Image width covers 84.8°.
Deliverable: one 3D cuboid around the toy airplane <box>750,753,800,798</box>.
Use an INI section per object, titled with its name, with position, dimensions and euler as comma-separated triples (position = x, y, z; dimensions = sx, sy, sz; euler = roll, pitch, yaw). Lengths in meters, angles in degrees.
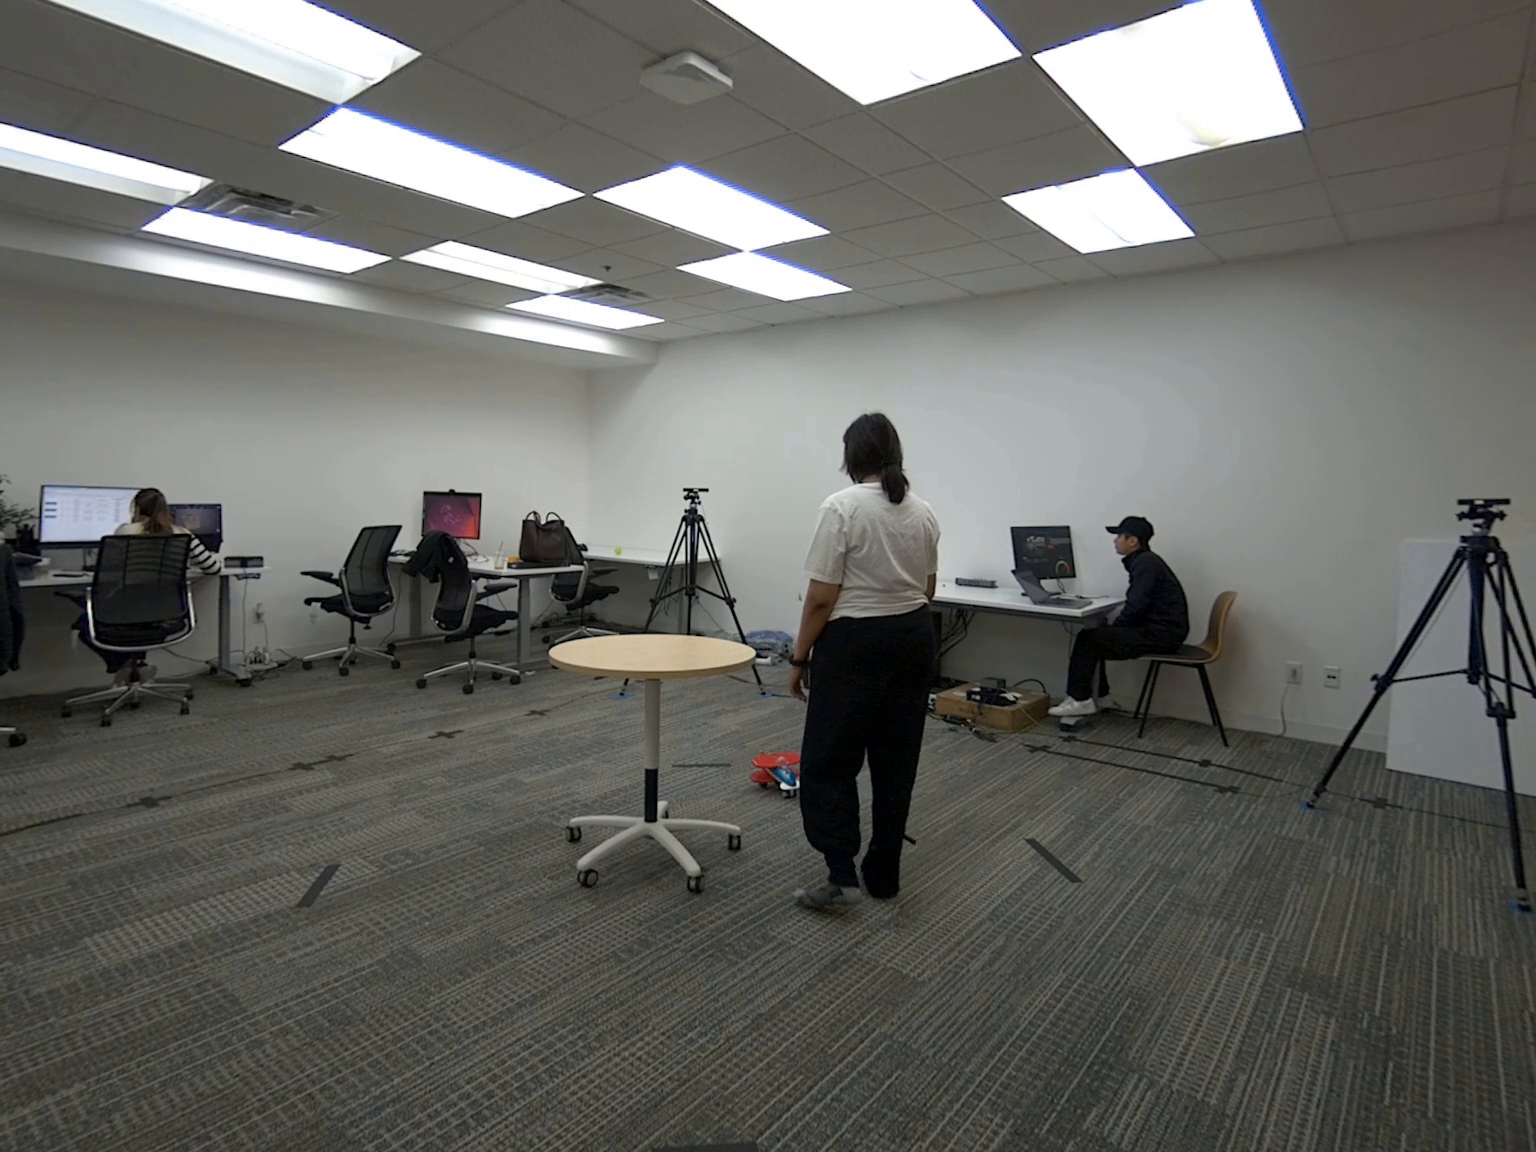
[toy airplane]
position = 0.060, 0.919, 3.965
dimensions = 0.267, 0.156, 0.244
euler = 3, 5, 34
